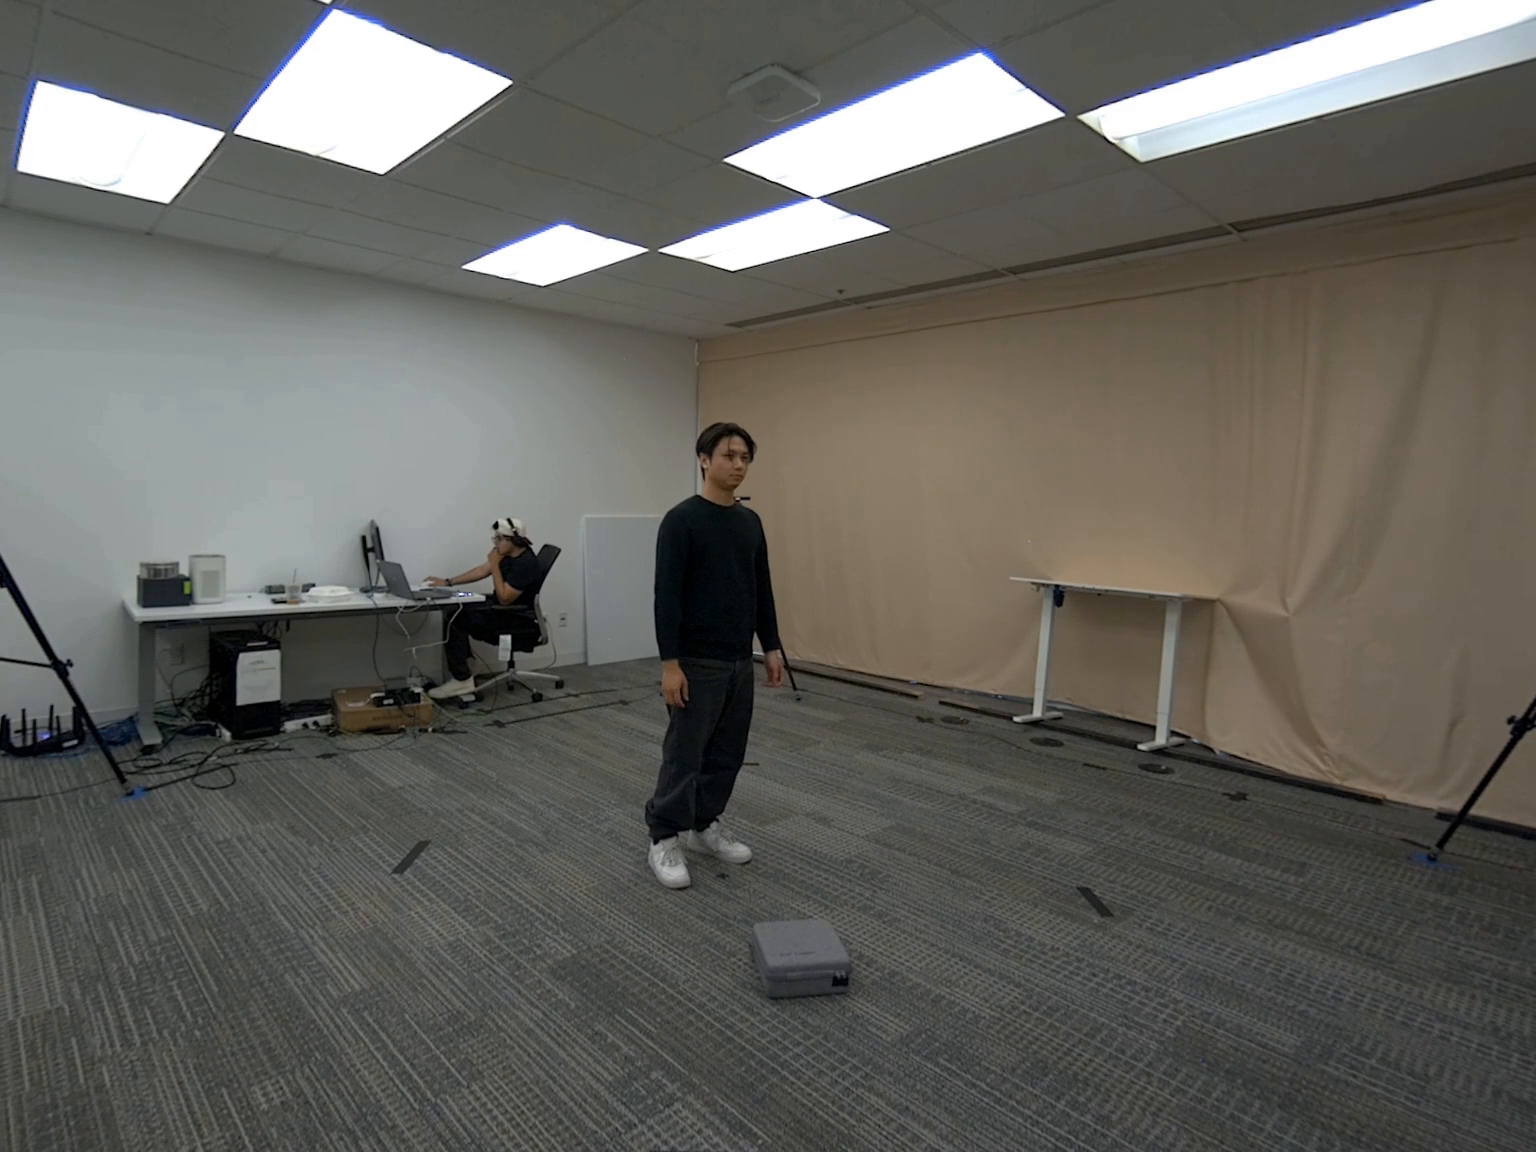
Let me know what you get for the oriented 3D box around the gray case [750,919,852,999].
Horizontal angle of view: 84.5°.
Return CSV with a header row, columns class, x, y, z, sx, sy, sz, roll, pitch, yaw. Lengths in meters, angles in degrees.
class,x,y,z,sx,sy,sz,roll,pitch,yaw
gray case,0.086,1.115,2.471,0.255,0.104,0.263,0,4,-11
